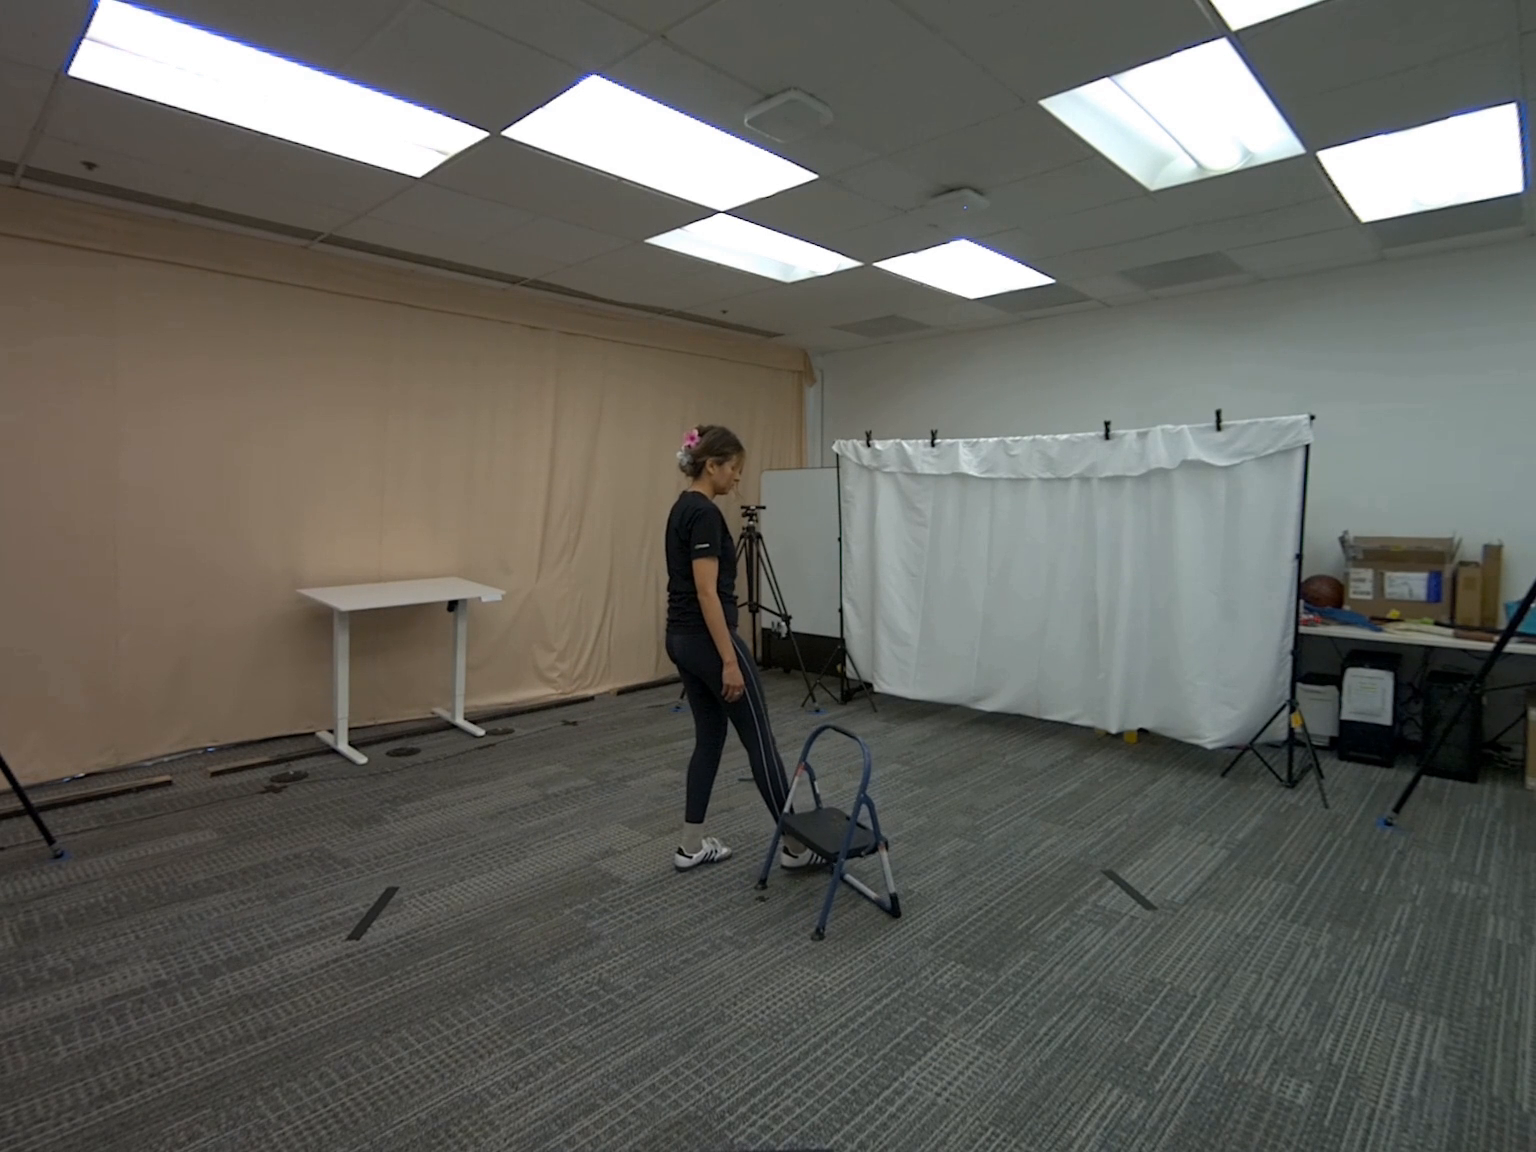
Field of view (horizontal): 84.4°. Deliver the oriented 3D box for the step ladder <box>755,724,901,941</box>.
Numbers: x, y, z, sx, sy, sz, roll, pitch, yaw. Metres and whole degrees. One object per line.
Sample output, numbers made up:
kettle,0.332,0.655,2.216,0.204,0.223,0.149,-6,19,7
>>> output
step ladder,0.210,0.840,2.936,0.340,0.605,0.442,-2,4,-27
